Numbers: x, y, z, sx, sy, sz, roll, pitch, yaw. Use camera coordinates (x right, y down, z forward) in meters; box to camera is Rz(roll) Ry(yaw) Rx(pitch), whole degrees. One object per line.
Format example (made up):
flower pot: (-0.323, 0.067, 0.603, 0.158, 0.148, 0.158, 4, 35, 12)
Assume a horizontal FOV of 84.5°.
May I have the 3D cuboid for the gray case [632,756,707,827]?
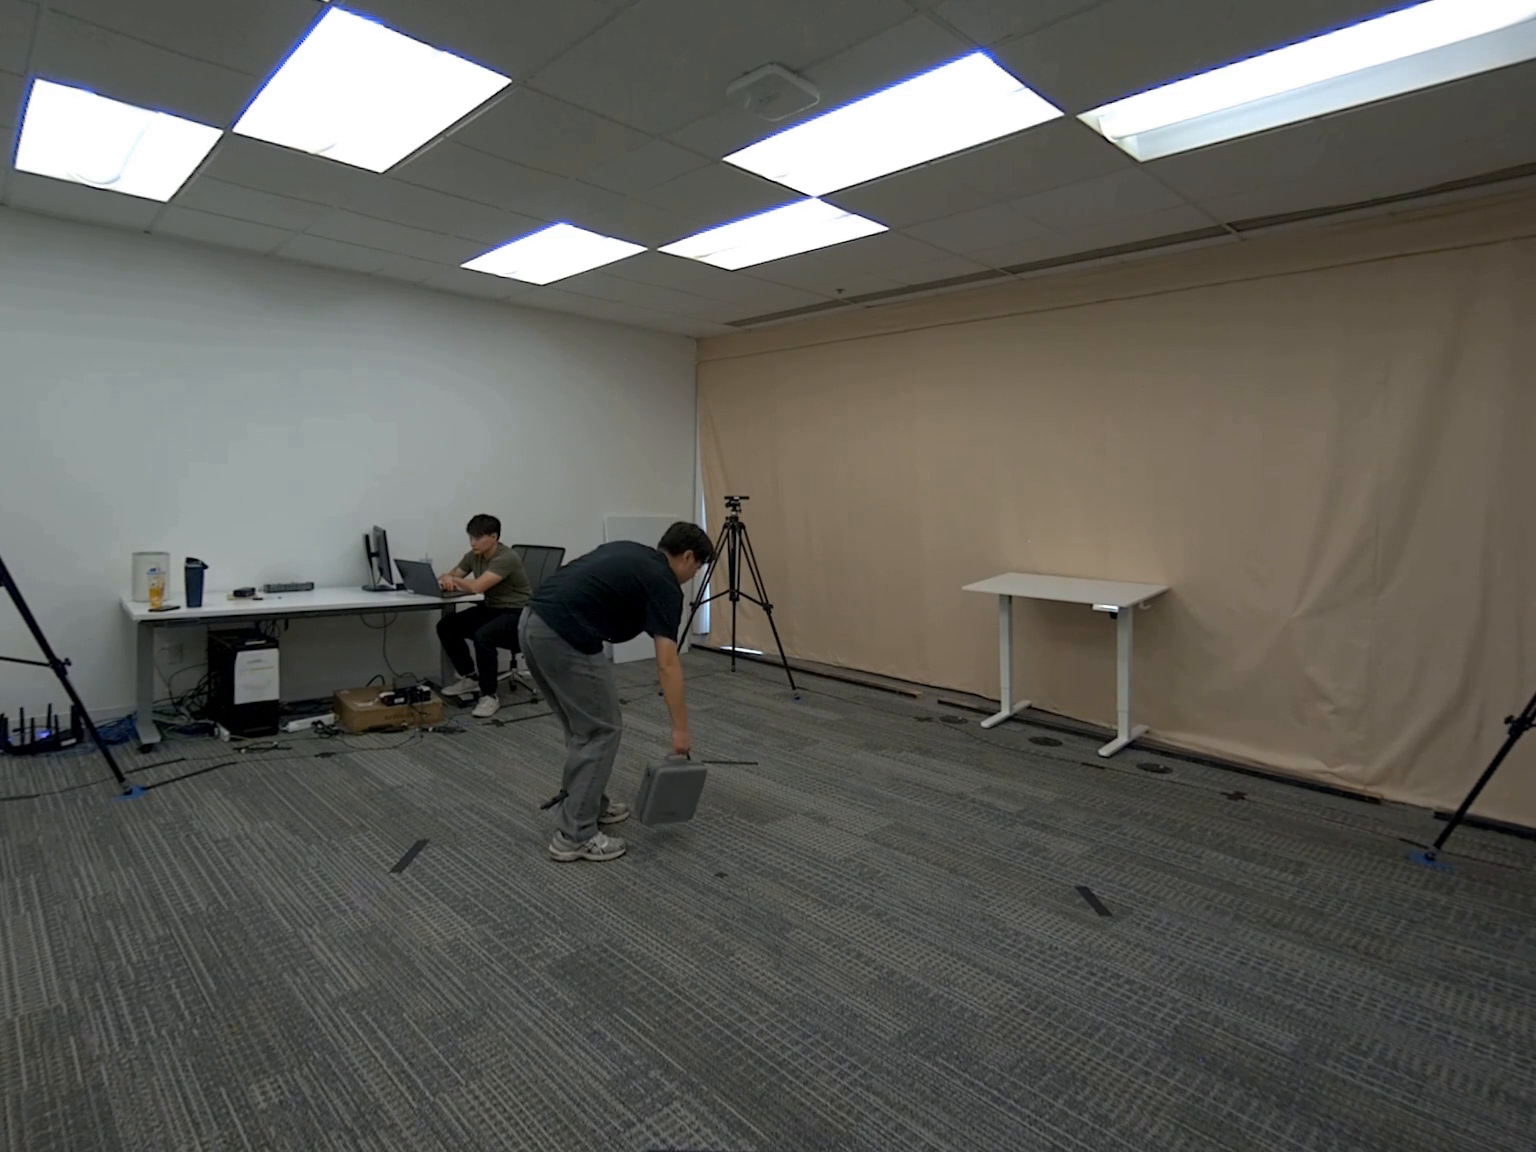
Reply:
gray case: (-0.396, 0.838, 3.389, 0.256, 0.286, 0.106, 9, 10, -37)
